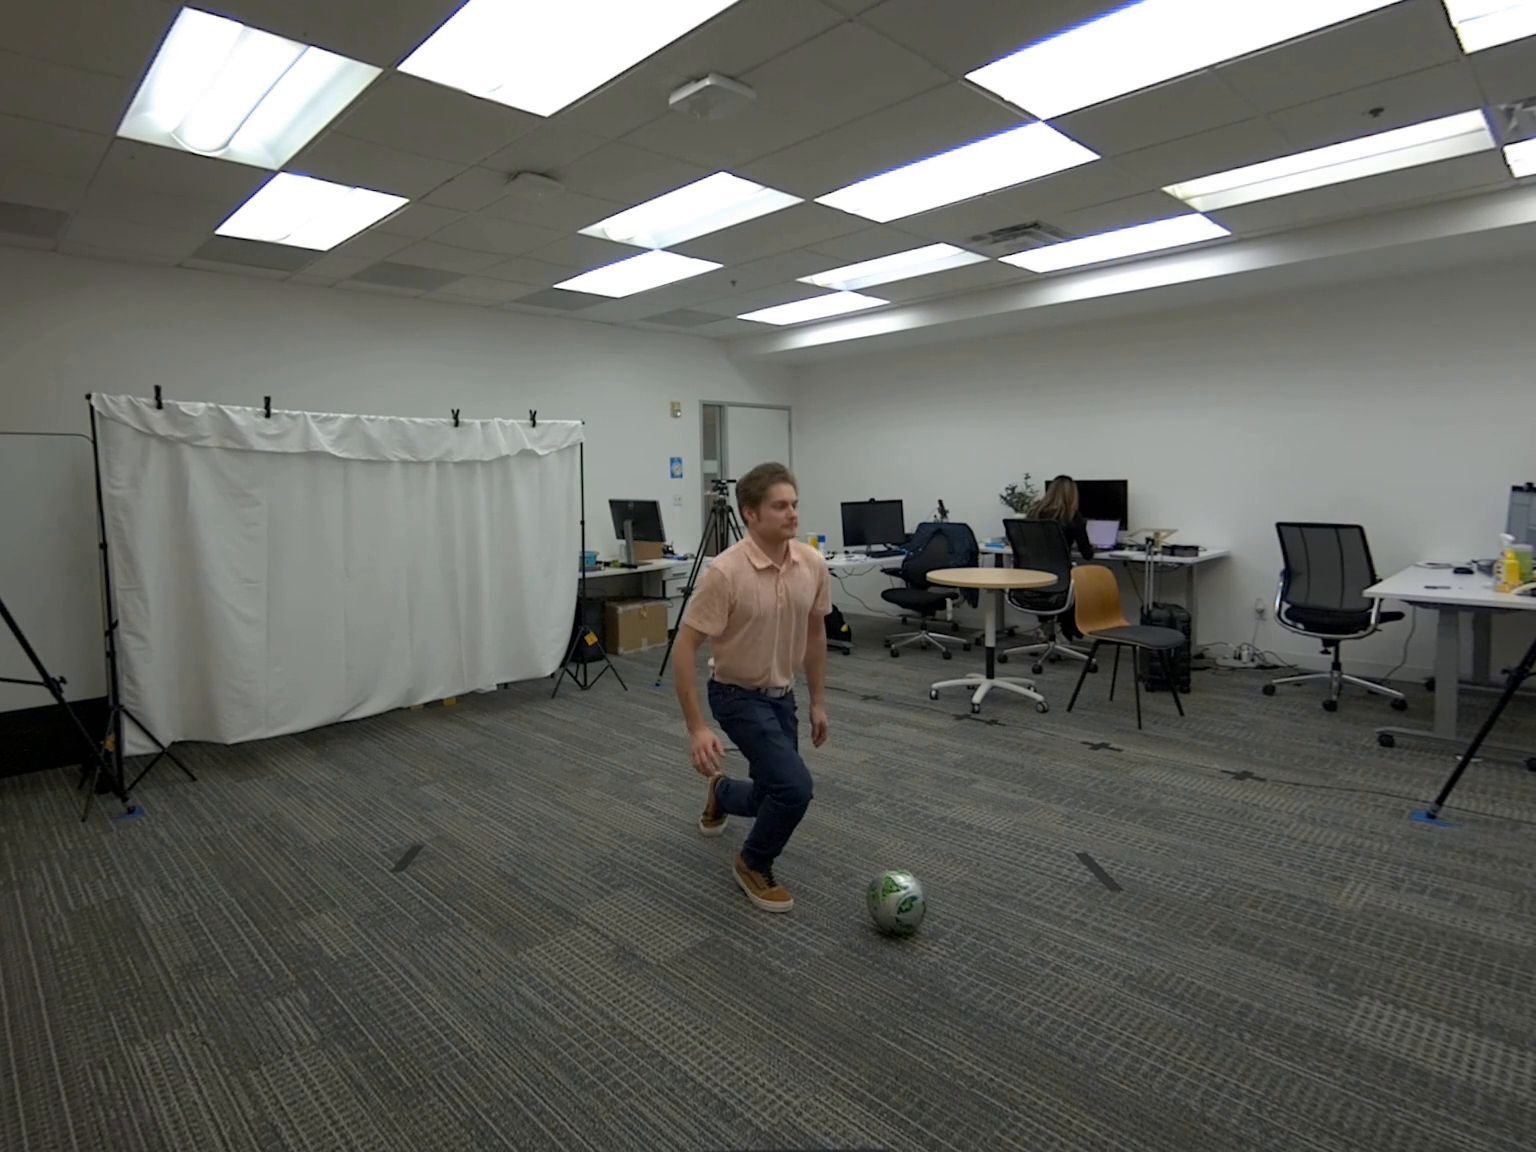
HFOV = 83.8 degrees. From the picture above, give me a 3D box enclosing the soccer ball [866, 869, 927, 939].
[{"bbox_3d":[0.401,1.006,2.632,0.187,0.187,0.188,-1,5,-2],"label":"soccer ball"}]
